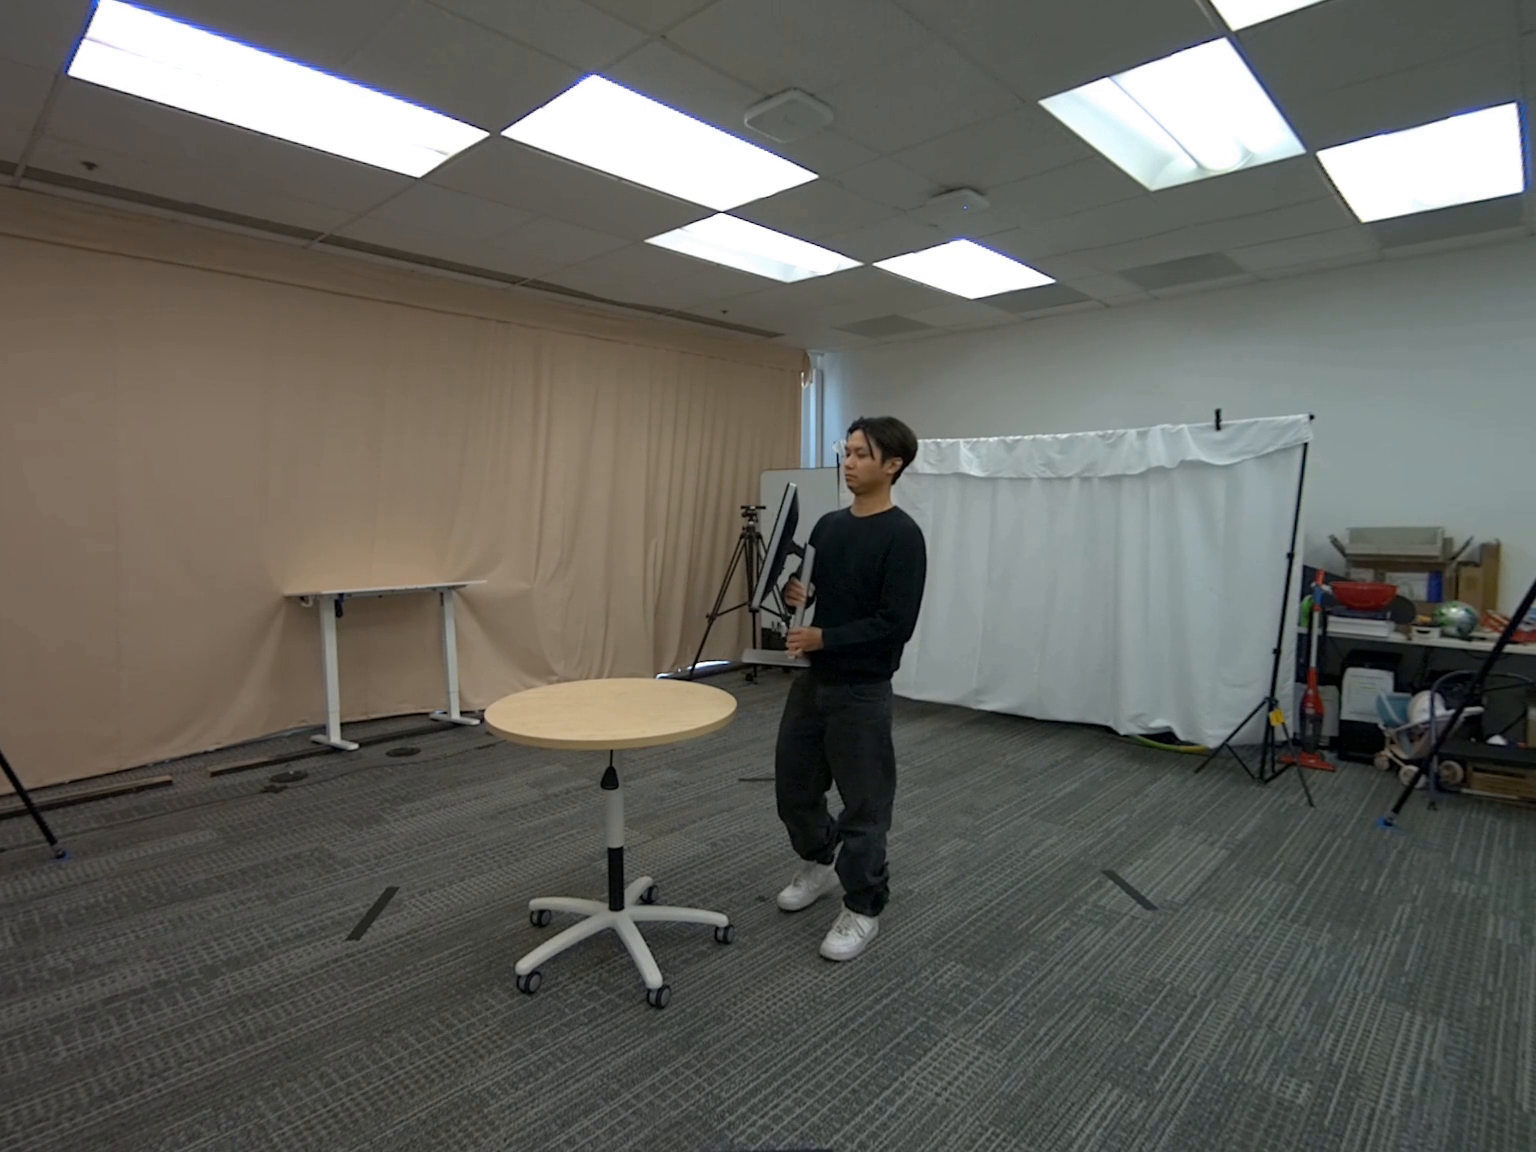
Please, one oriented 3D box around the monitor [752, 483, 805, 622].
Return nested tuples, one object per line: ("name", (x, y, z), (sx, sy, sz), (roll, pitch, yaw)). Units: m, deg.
("monitor", (0.044, -0.001, 2.603), (0.175, 0.515, 0.531), (0, 4, -1))
